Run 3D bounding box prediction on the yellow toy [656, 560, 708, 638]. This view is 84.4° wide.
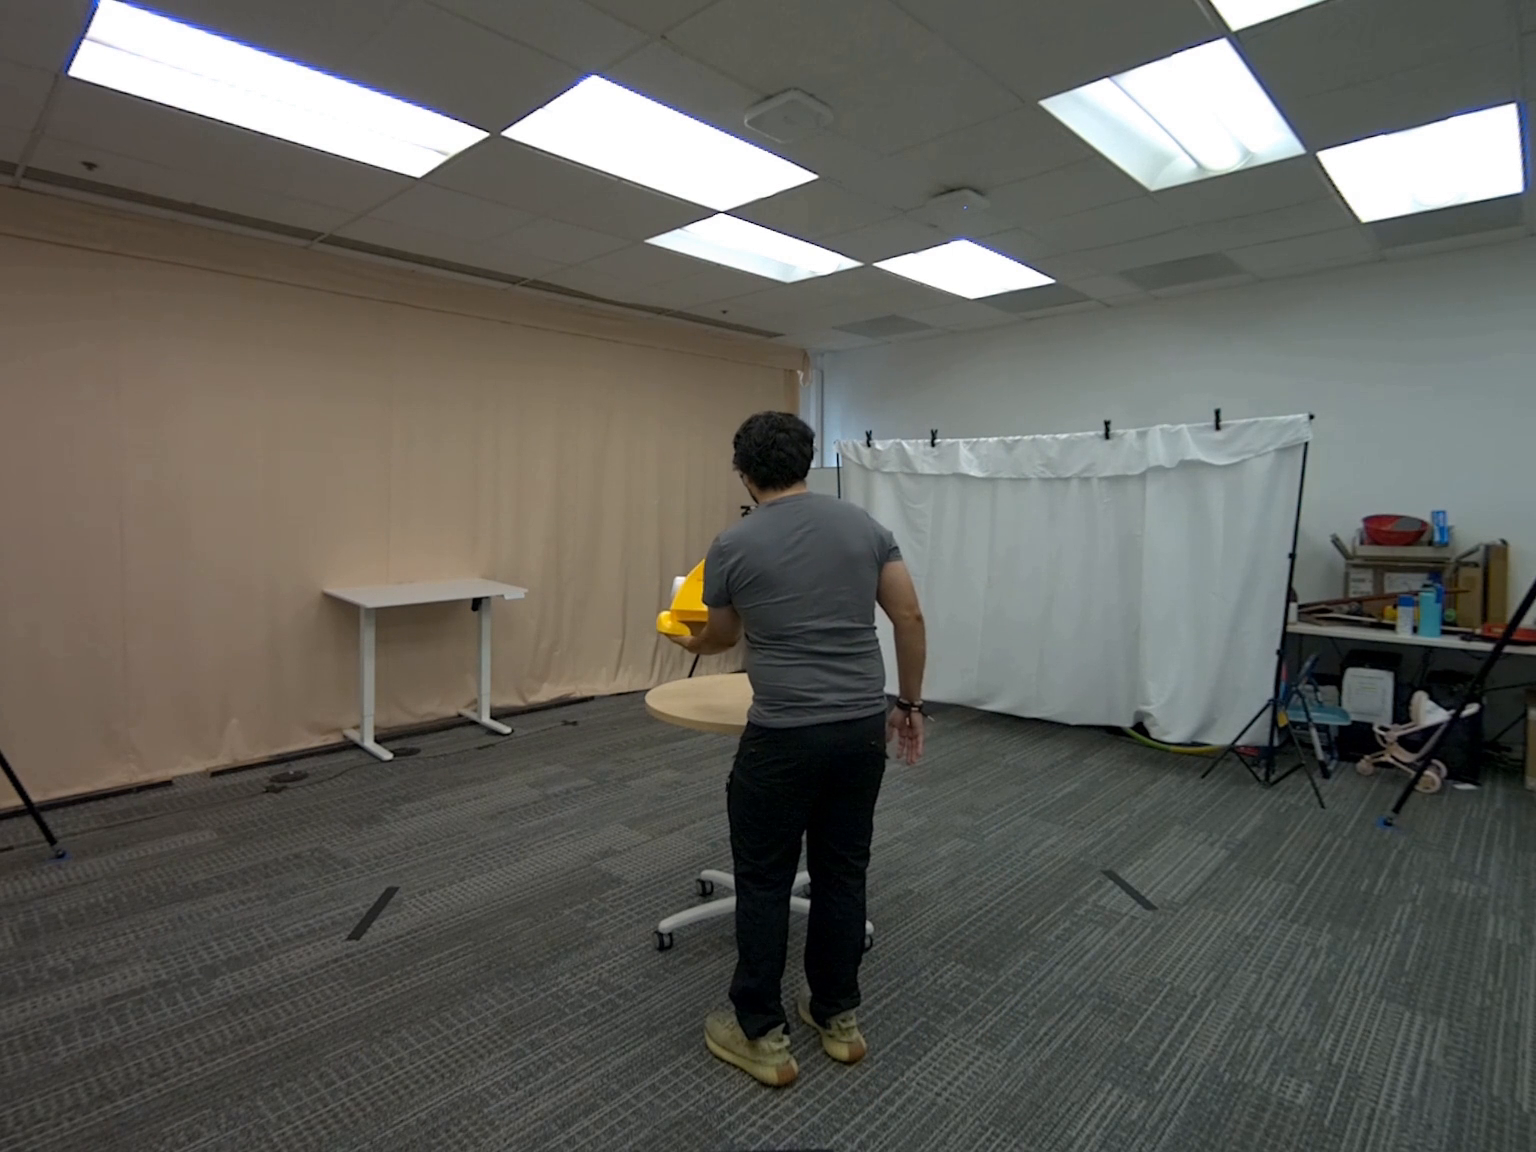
[{"bbox_3d":[-0.228,0.058,2.564,0.199,0.230,0.198,5,4,-26],"label":"yellow toy"}]
